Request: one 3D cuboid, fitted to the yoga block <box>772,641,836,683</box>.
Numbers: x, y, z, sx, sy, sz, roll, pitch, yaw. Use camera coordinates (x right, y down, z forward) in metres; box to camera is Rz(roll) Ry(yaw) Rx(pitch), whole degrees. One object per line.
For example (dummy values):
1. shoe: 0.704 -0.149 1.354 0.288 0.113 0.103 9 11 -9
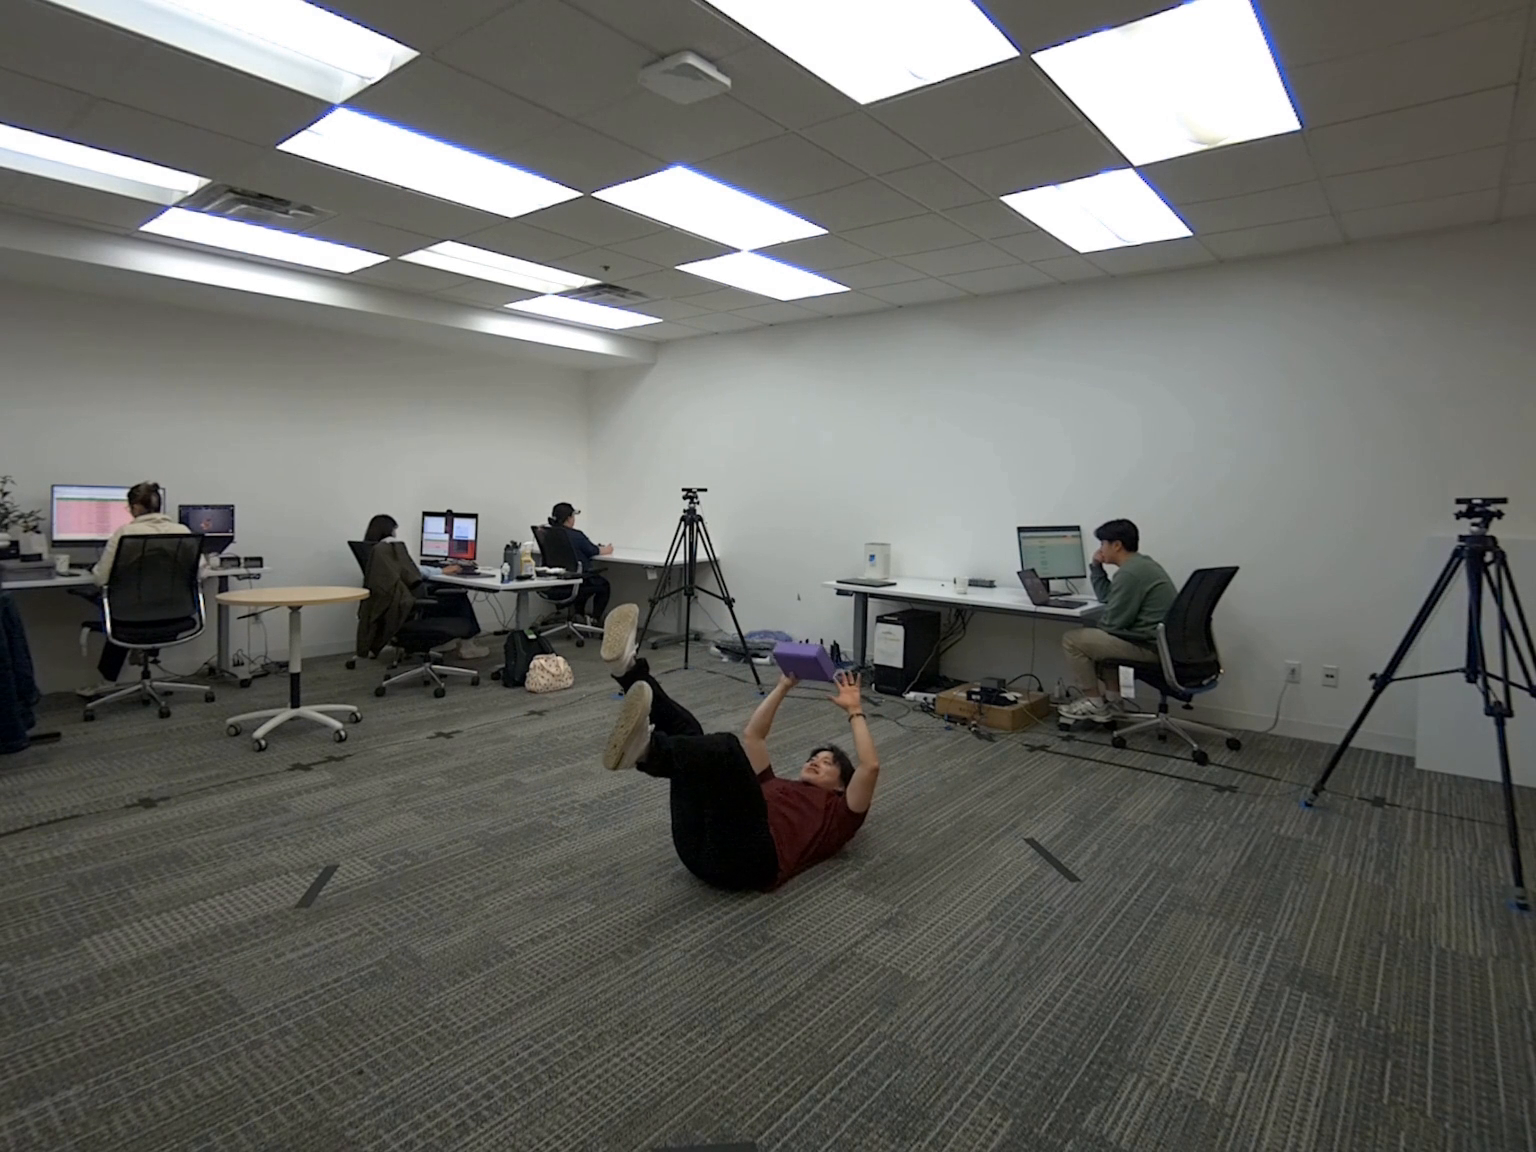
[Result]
1. yoga block: 0.125 0.339 3.417 0.236 0.144 0.076 -2 39 42
